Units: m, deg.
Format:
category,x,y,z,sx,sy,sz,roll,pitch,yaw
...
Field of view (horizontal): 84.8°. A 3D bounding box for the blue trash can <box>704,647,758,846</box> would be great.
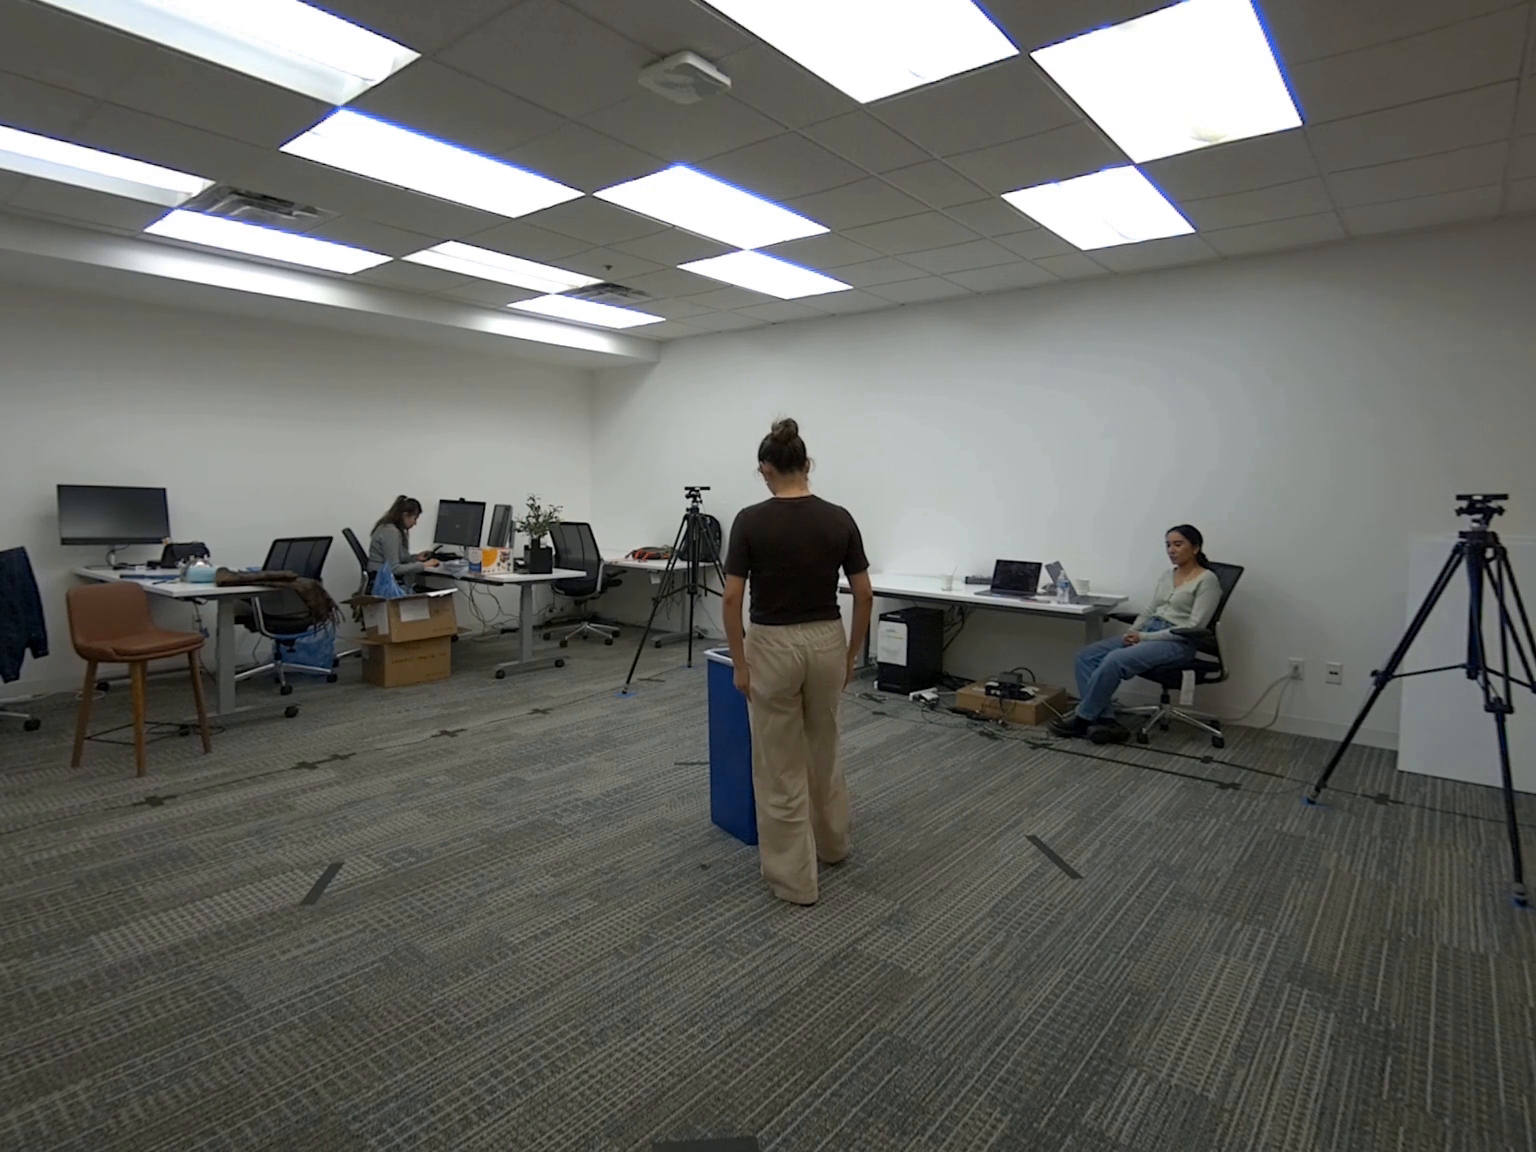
category,x,y,z,sx,sy,sz,roll,pitch,yaw
blue trash can,-0.037,0.670,3.499,0.363,0.711,0.390,-1,4,-35
